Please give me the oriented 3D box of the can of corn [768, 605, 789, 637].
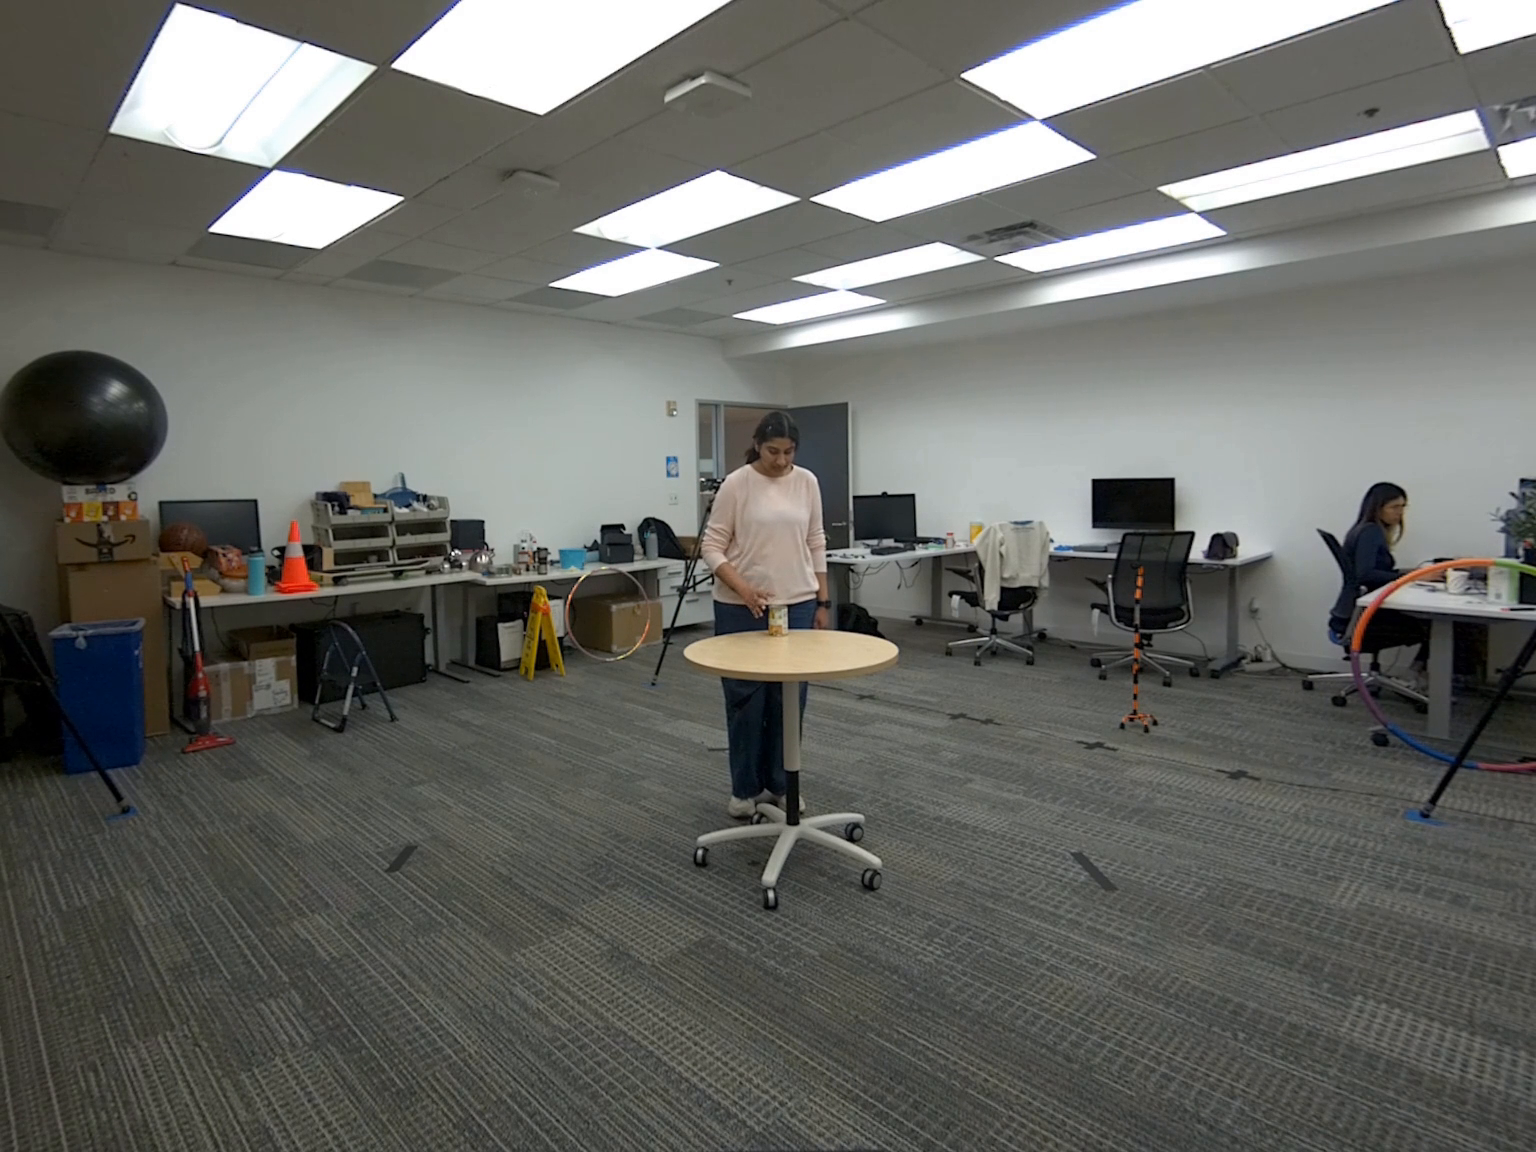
[{"bbox_3d":[0.035,0.177,3.342,0.074,0.110,0.074,-4,5,-1],"label":"can of corn"}]
